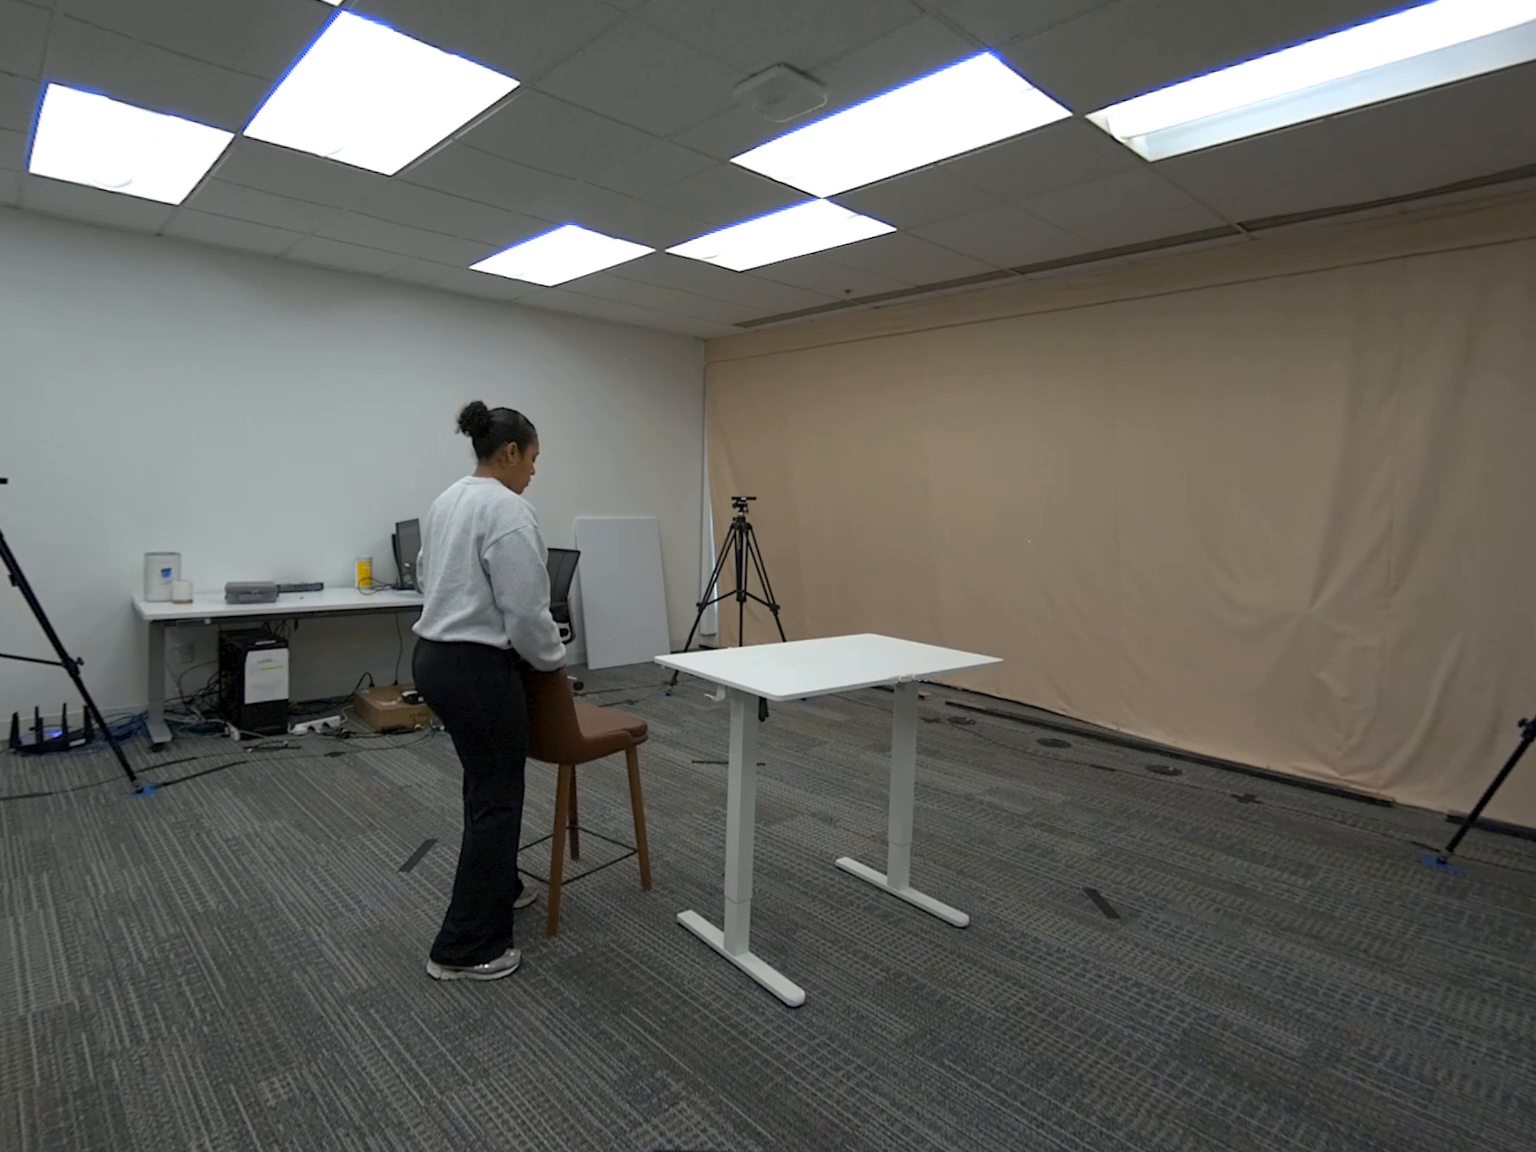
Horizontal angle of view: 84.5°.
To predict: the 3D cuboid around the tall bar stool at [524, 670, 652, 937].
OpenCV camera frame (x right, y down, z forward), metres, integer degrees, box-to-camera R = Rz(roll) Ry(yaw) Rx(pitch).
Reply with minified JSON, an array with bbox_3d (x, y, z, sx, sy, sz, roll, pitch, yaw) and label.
[{"bbox_3d":[-0.699,0.672,2.899,0.467,0.886,0.458,4,7,37],"label":"tall bar stool"}]
